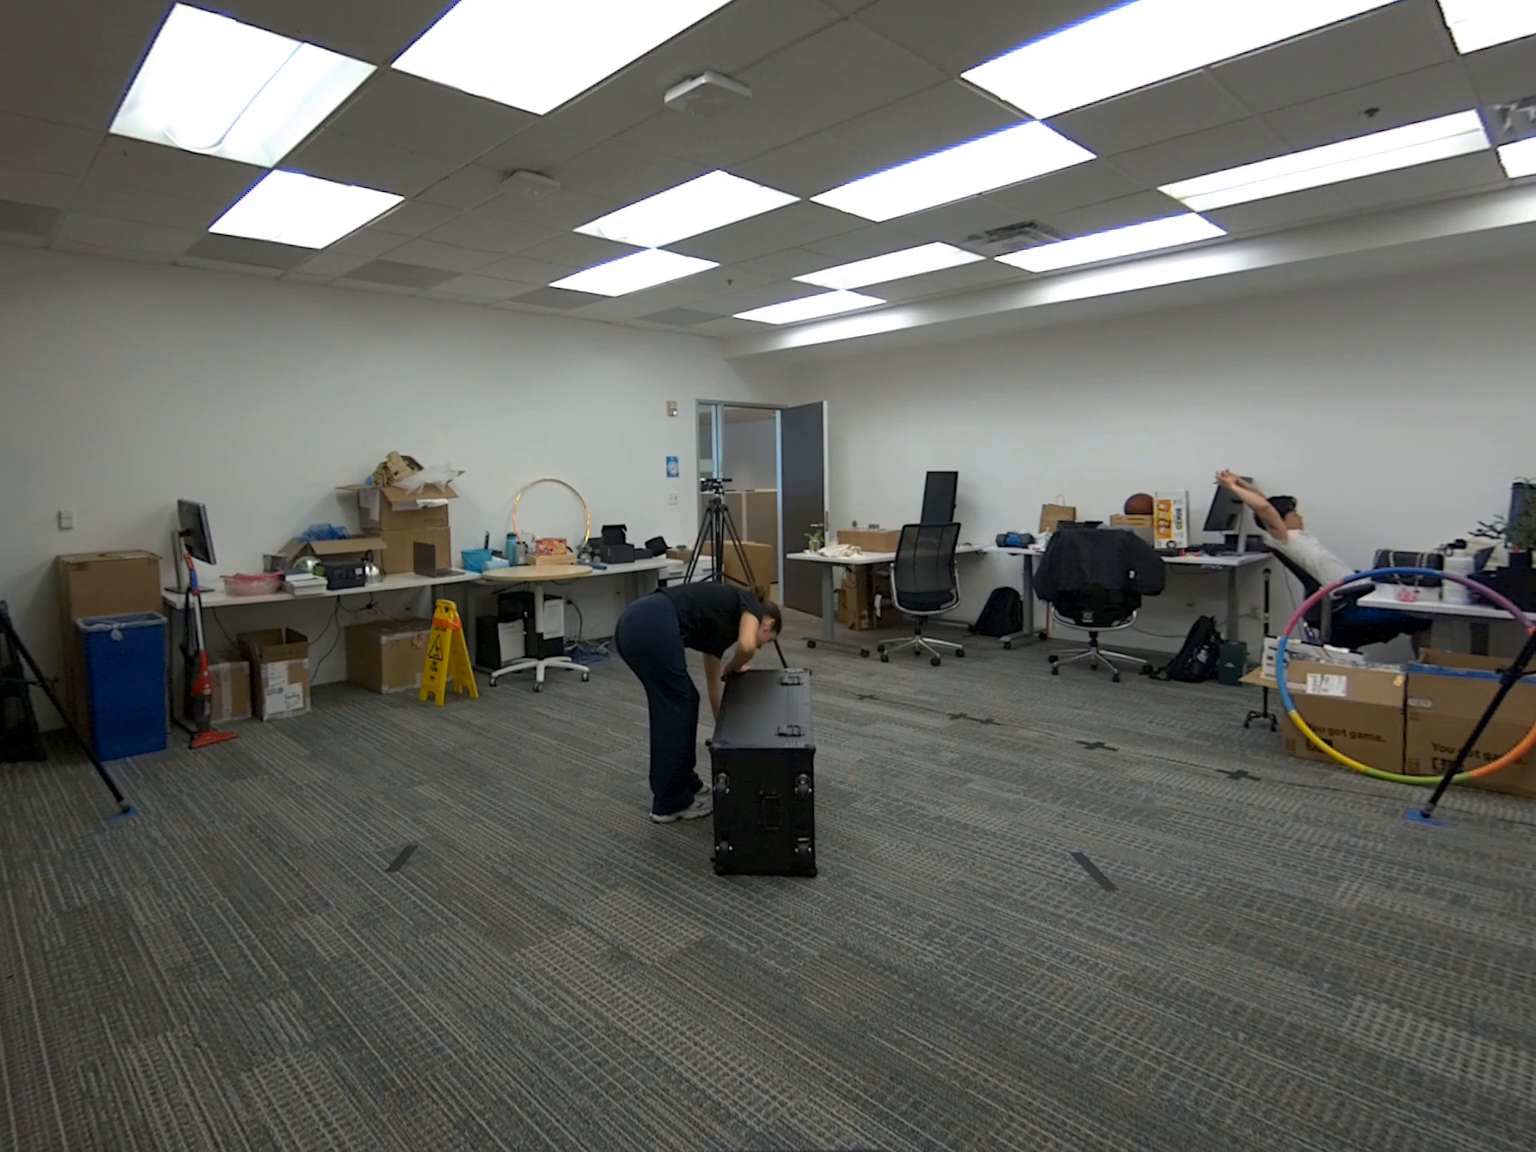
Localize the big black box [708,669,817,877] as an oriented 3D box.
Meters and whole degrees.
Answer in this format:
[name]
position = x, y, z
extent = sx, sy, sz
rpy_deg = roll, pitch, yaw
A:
[big black box]
position = -0.014, 0.727, 3.309
extent = 0.398, 0.516, 0.867
rpy_deg = -2, 12, 3
